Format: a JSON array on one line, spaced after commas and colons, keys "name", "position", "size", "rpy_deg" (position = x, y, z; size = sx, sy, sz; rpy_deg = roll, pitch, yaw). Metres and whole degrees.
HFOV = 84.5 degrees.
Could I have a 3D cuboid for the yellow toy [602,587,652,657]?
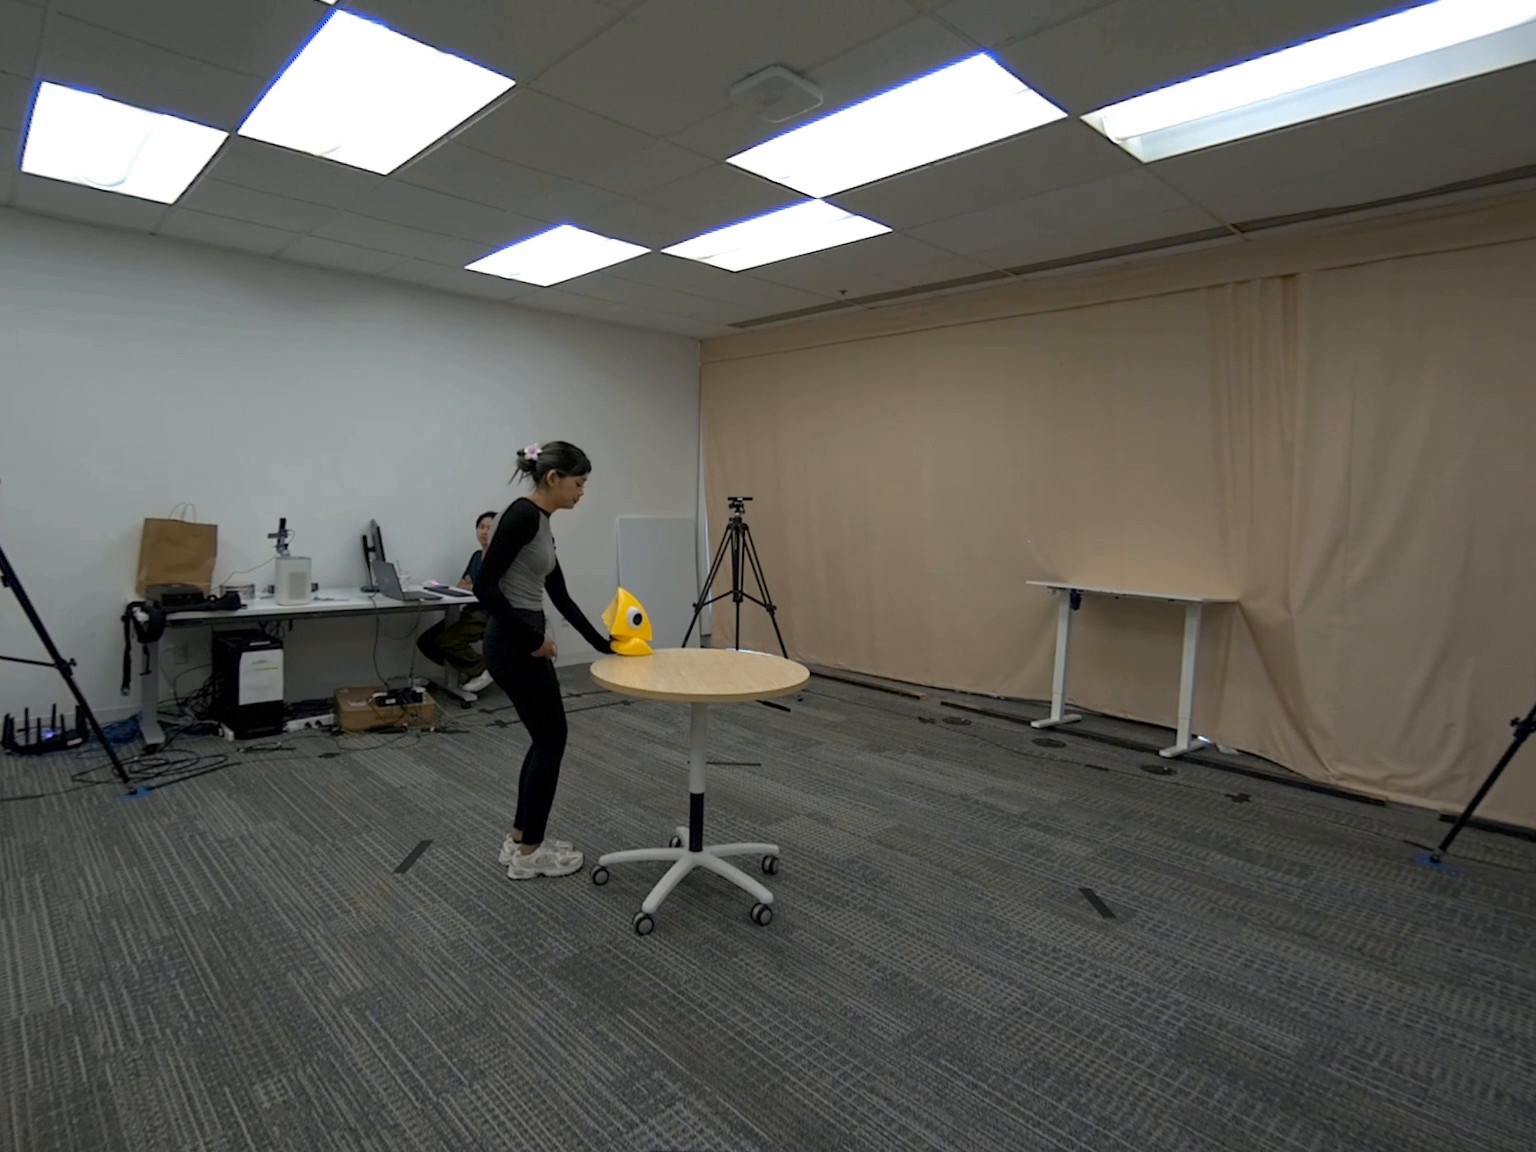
[{"name": "yellow toy", "position": [-0.532, 0.152, 3.203], "size": [0.190, 0.229, 0.210], "rpy_deg": [5, 13, -22]}]
